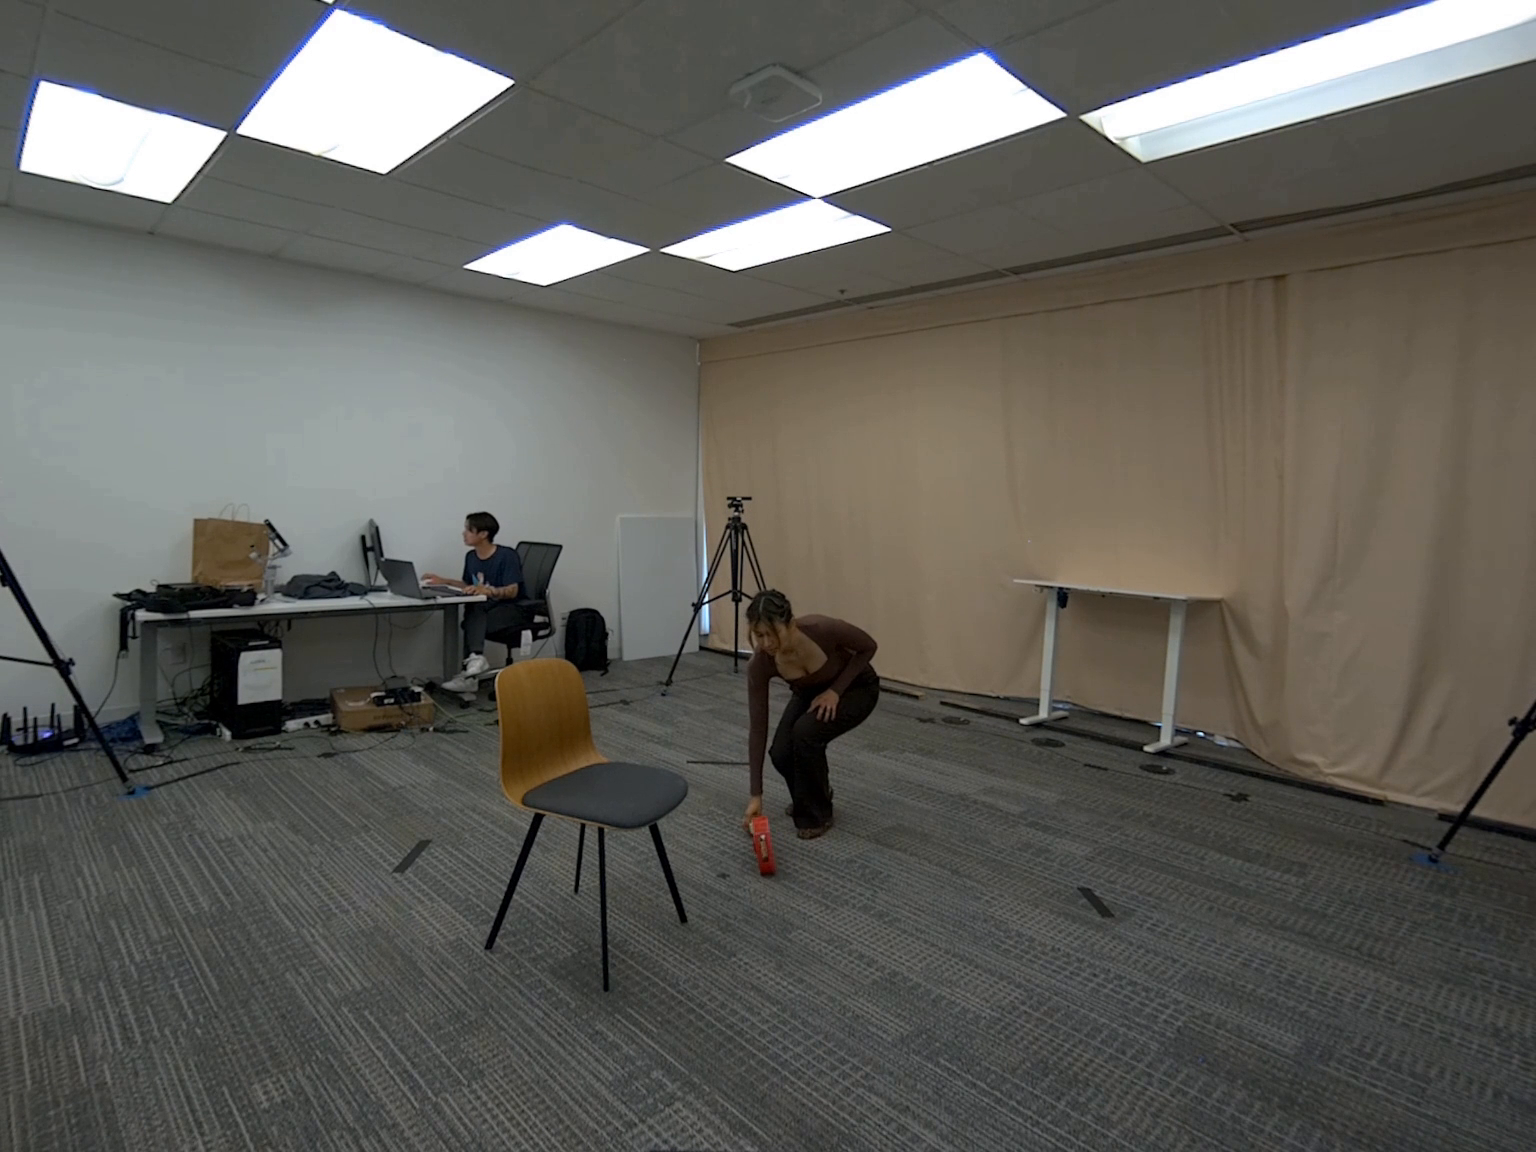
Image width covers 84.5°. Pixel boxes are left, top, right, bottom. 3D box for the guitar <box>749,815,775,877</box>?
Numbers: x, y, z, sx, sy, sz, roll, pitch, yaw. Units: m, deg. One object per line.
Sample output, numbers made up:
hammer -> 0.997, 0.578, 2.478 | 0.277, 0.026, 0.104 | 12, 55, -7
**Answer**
guitar -> -0.043, 0.992, 3.328 | 0.070, 0.192, 0.501 | -10, 6, -4
